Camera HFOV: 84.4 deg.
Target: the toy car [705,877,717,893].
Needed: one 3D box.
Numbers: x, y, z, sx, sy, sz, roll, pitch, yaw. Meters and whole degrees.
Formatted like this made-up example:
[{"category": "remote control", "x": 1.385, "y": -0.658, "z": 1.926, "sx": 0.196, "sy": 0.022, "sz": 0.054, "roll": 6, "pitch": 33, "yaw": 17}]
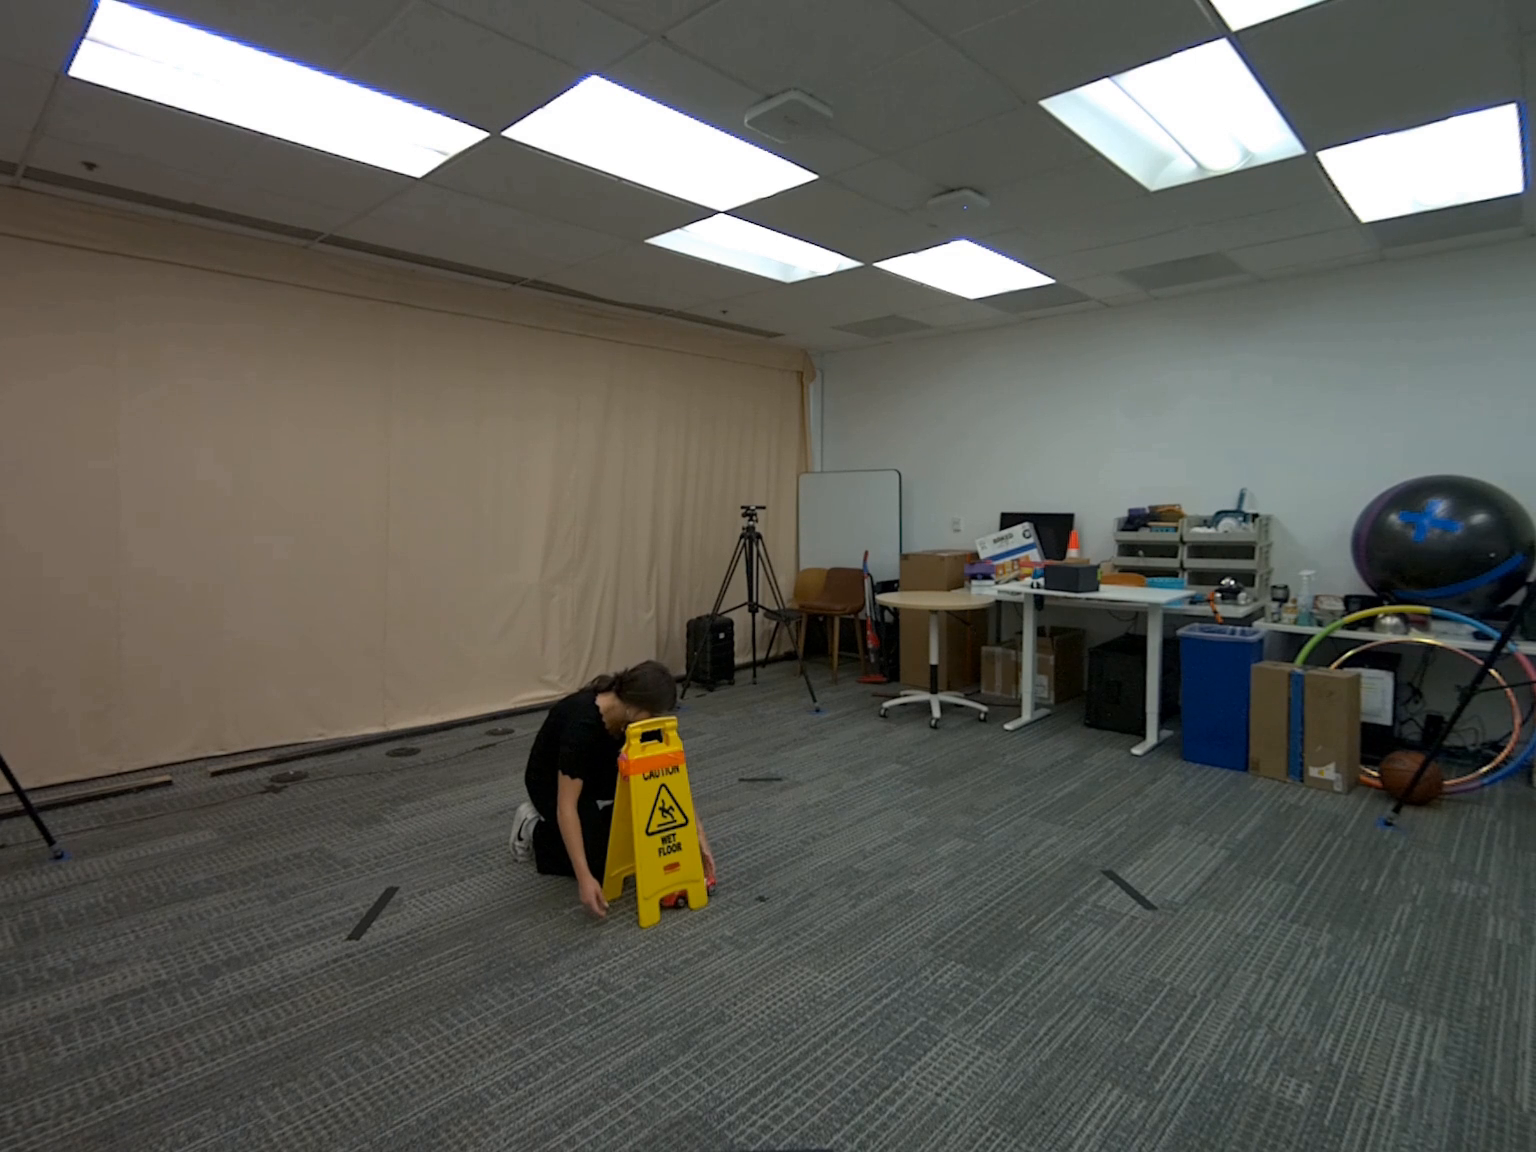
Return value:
[{"category": "toy car", "x": -0.309, "y": 1.115, "z": 2.978, "sx": 0.246, "sy": 0.083, "sz": 0.134, "roll": 11, "pitch": -4, "yaw": -40}]
